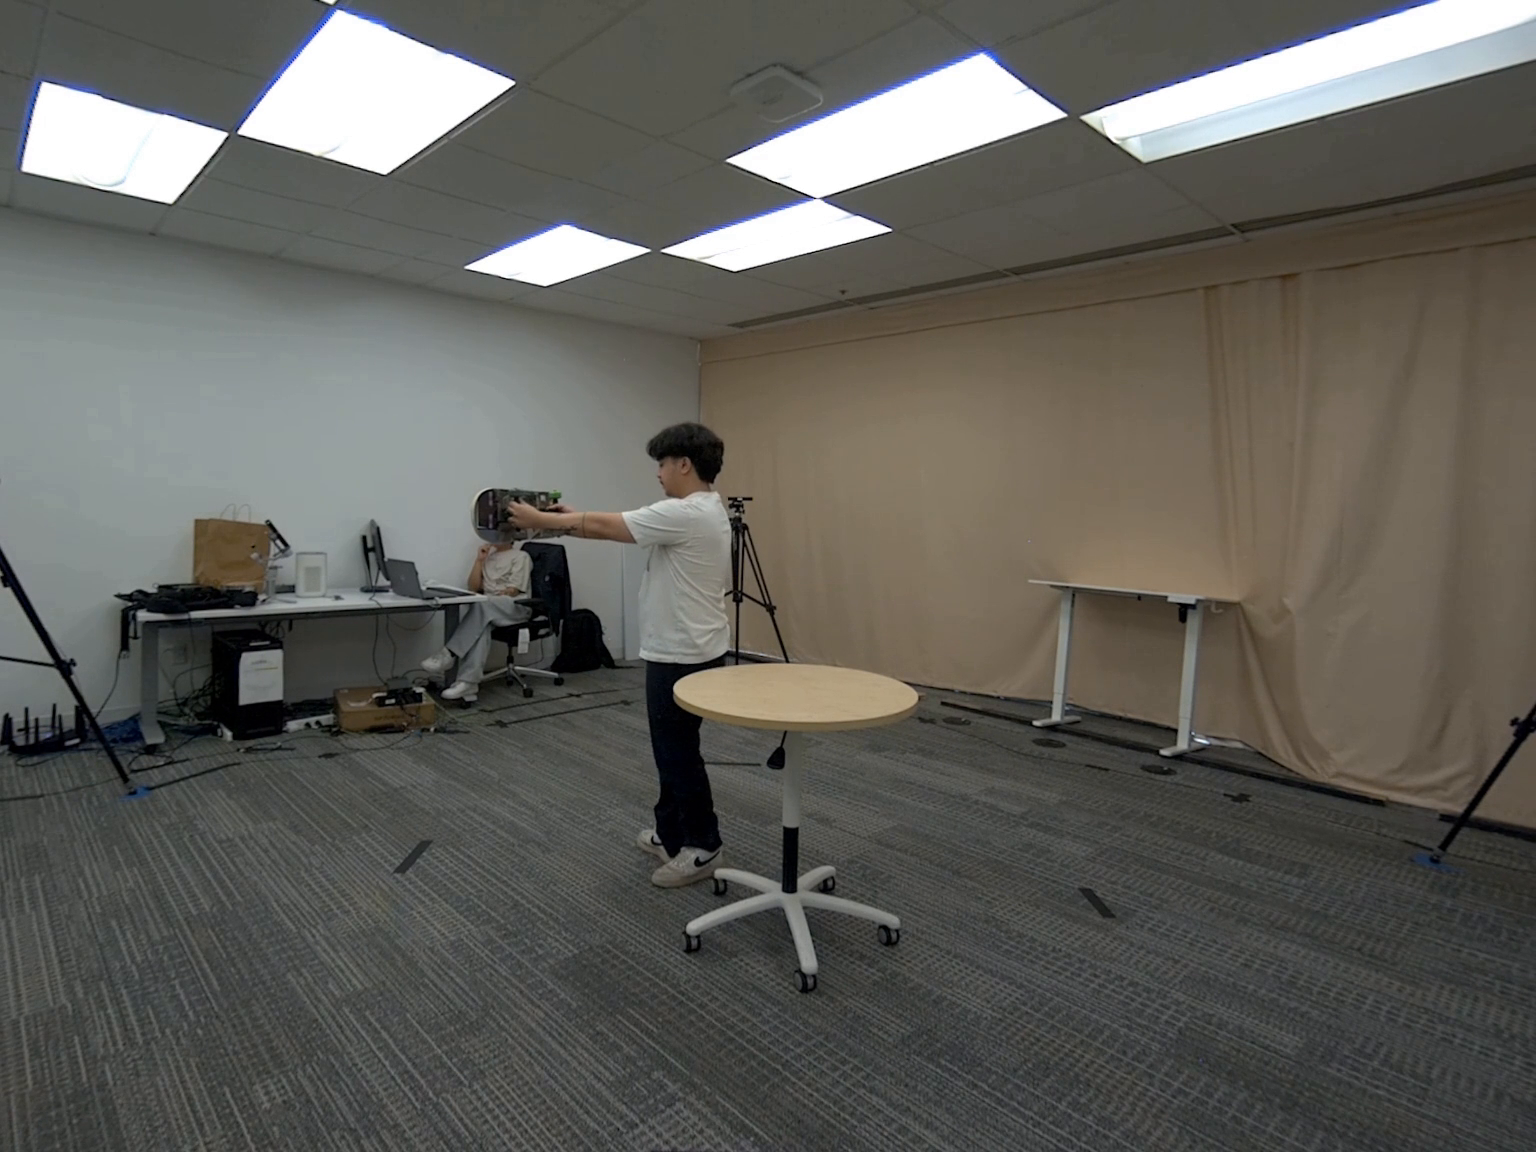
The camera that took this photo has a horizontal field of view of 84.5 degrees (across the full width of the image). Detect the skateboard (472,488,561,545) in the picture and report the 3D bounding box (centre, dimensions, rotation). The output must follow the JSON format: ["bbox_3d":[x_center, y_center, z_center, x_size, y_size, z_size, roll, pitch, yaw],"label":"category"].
[{"bbox_3d":[-0.905,-0.233,3.217,0.111,0.193,0.782,-5,3,7],"label":"skateboard"}]
